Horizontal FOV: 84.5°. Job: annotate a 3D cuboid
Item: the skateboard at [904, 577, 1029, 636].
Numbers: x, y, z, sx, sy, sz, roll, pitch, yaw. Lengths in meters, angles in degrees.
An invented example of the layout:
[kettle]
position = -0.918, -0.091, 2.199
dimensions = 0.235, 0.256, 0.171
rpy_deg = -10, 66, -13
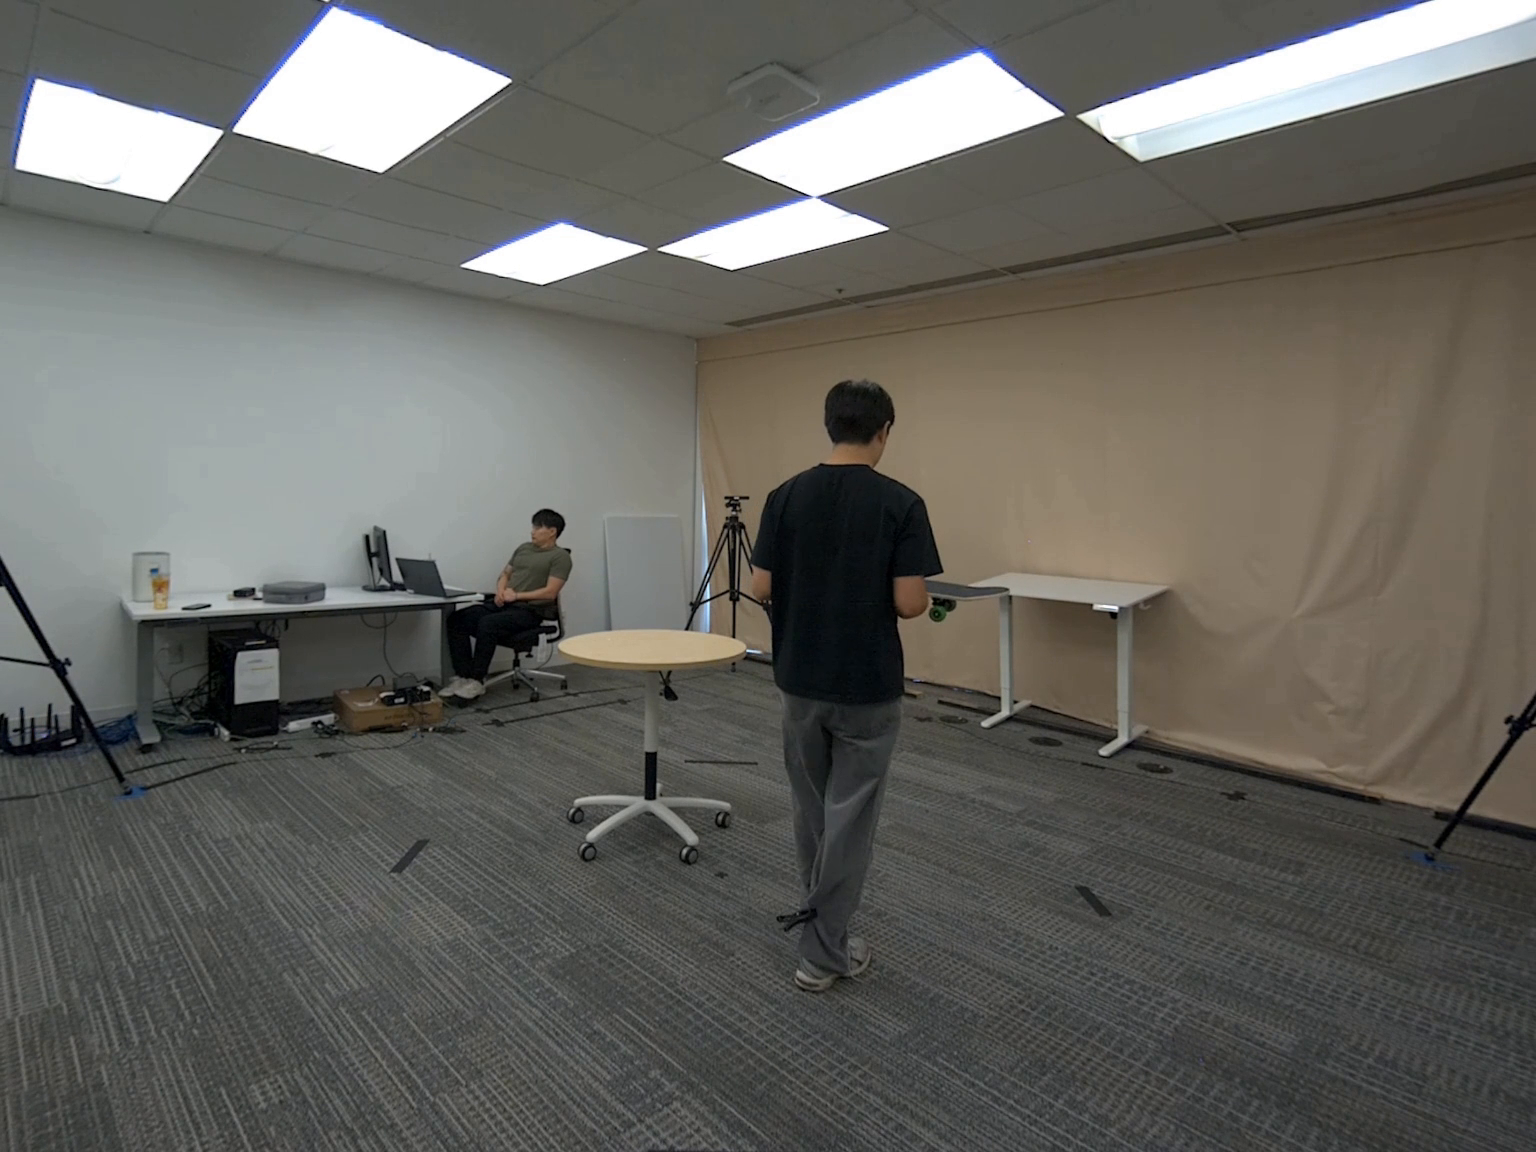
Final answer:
[skateboard]
position = 0.408, 0.059, 2.730
dimensions = 0.802, 0.109, 0.191
rpy_deg = 7, 11, 26
